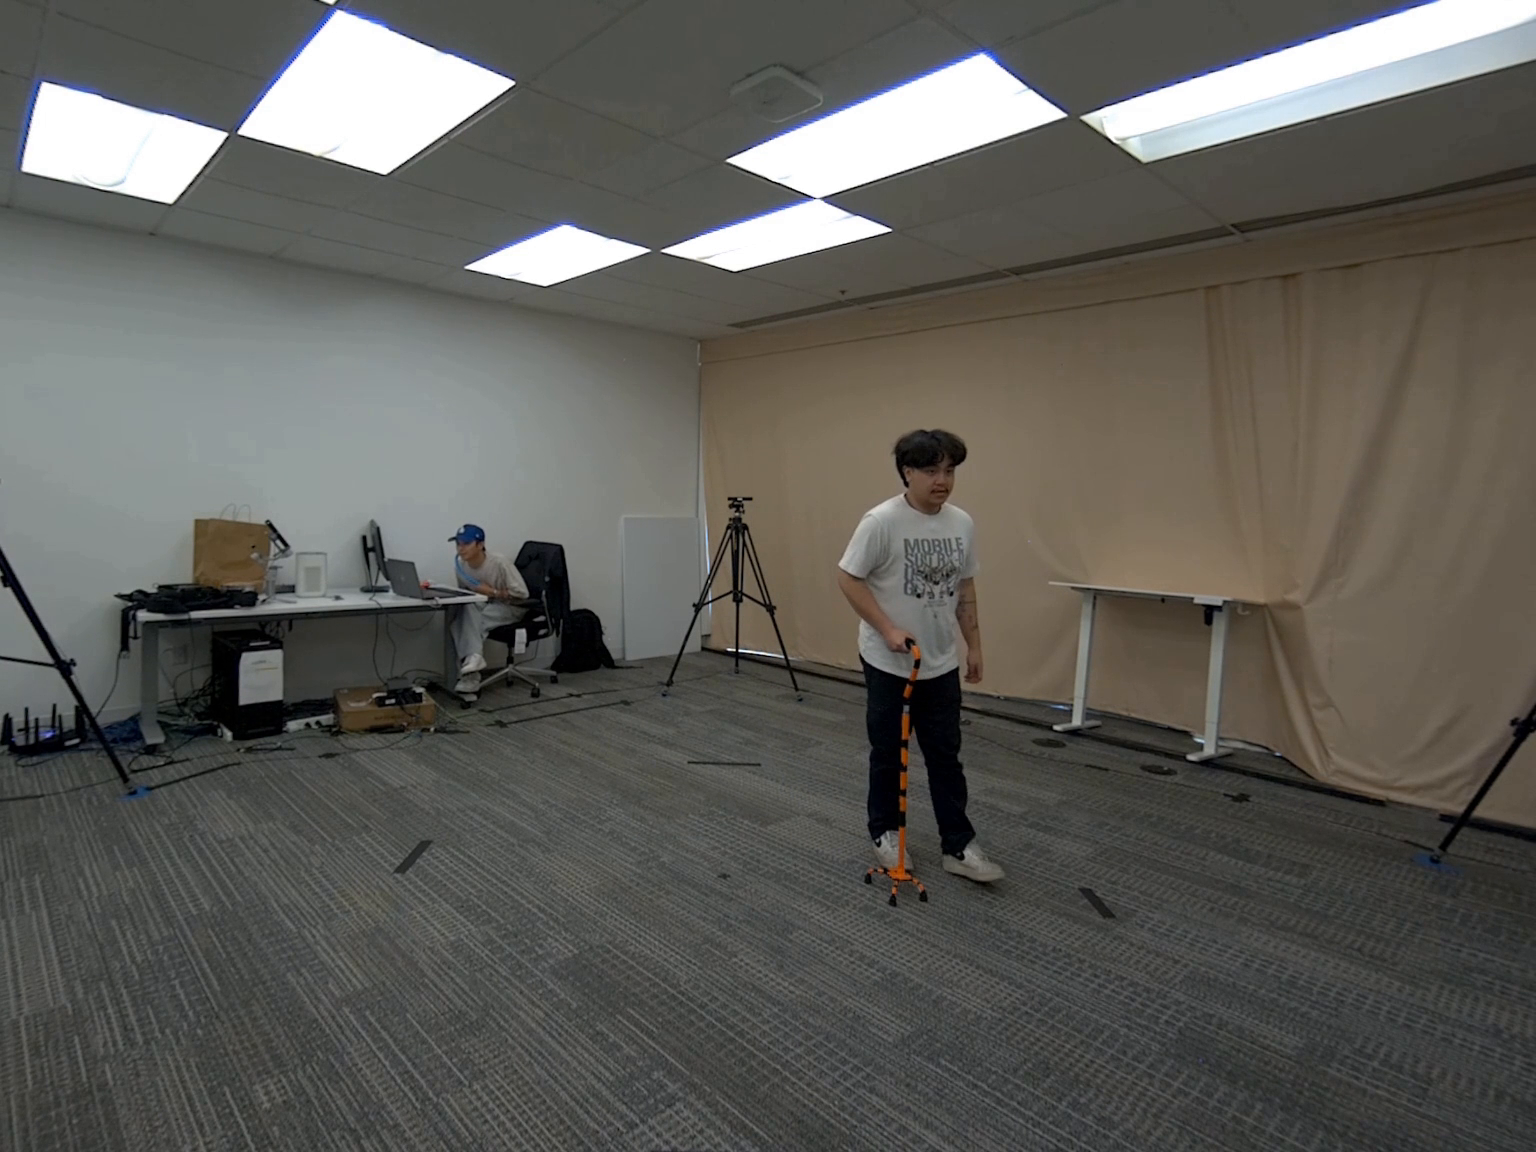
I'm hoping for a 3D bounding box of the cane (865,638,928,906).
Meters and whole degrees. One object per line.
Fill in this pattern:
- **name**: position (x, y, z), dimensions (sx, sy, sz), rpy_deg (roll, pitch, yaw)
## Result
- **cane**: position (0.456, 0.673, 2.987), dimensions (0.149, 0.905, 0.210), rpy_deg (0, 4, -24)
